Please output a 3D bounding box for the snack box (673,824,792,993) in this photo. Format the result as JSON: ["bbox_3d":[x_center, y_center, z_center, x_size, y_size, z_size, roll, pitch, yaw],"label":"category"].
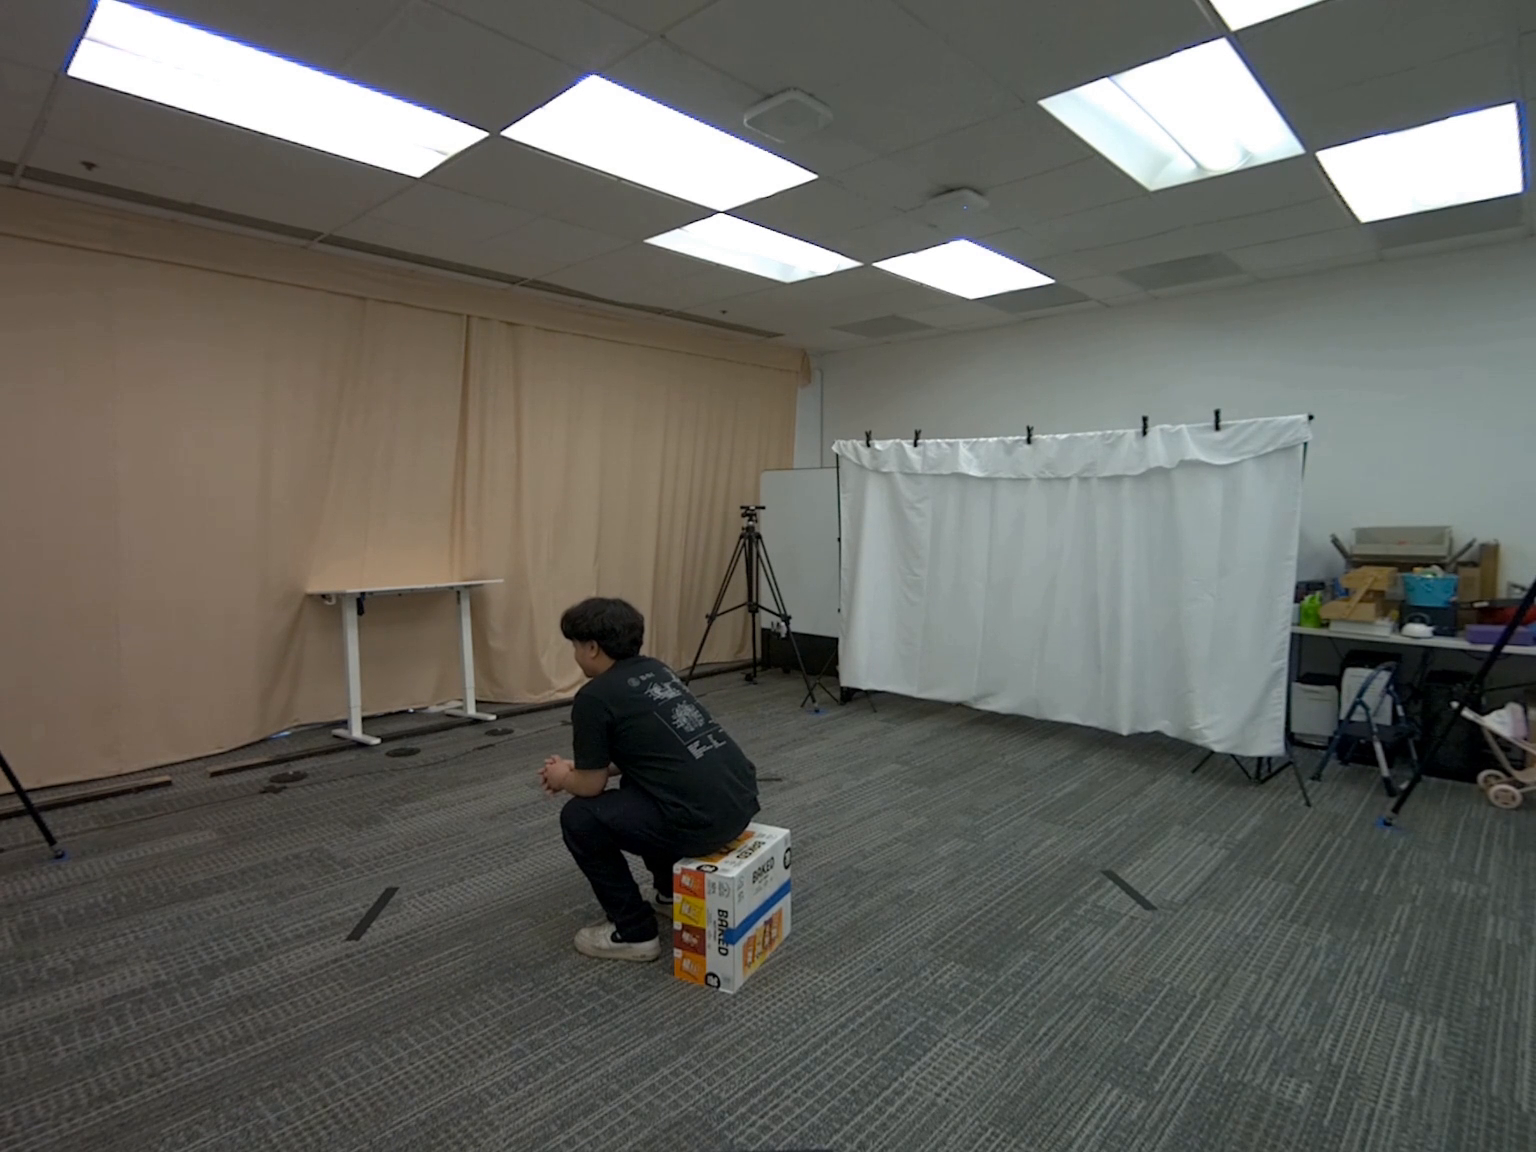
[{"bbox_3d":[-0.098,1.008,2.612,0.211,0.339,0.395,2,4,27],"label":"snack box"}]
